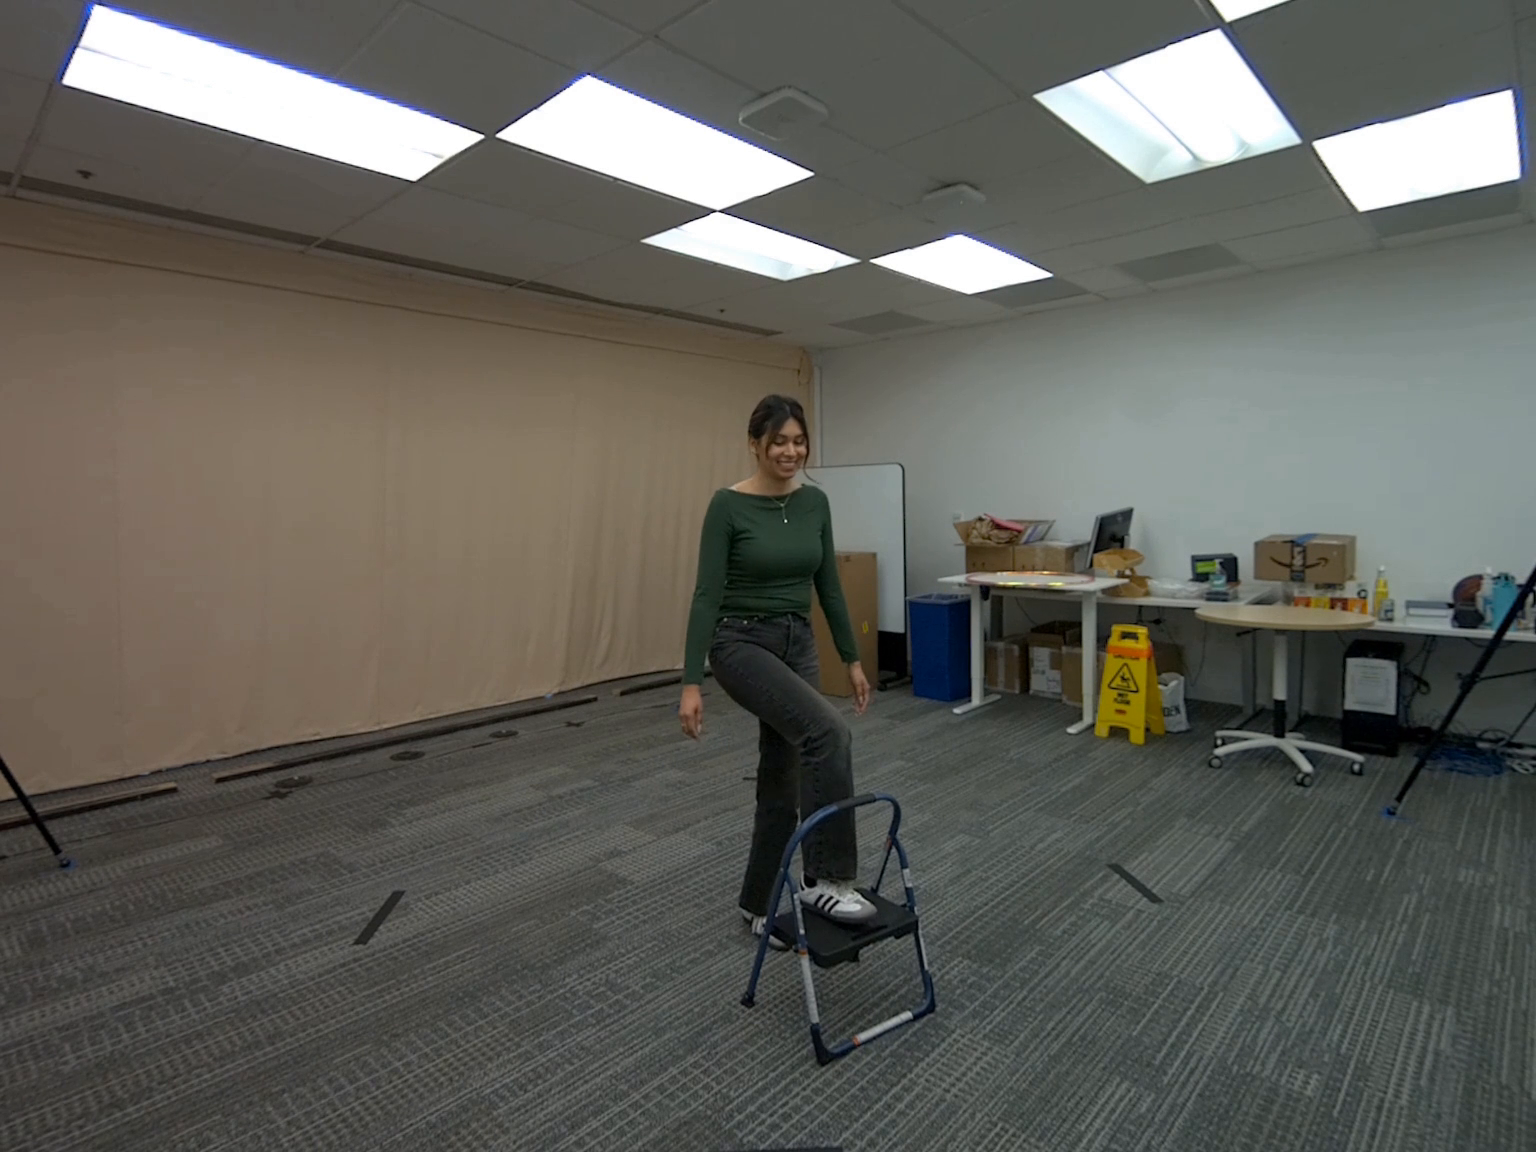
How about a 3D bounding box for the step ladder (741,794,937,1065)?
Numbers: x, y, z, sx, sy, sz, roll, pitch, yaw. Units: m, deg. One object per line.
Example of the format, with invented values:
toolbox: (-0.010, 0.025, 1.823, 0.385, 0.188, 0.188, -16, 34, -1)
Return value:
step ladder: (0.197, 0.893, 2.317, 0.418, 0.604, 0.360, -4, 5, -36)
